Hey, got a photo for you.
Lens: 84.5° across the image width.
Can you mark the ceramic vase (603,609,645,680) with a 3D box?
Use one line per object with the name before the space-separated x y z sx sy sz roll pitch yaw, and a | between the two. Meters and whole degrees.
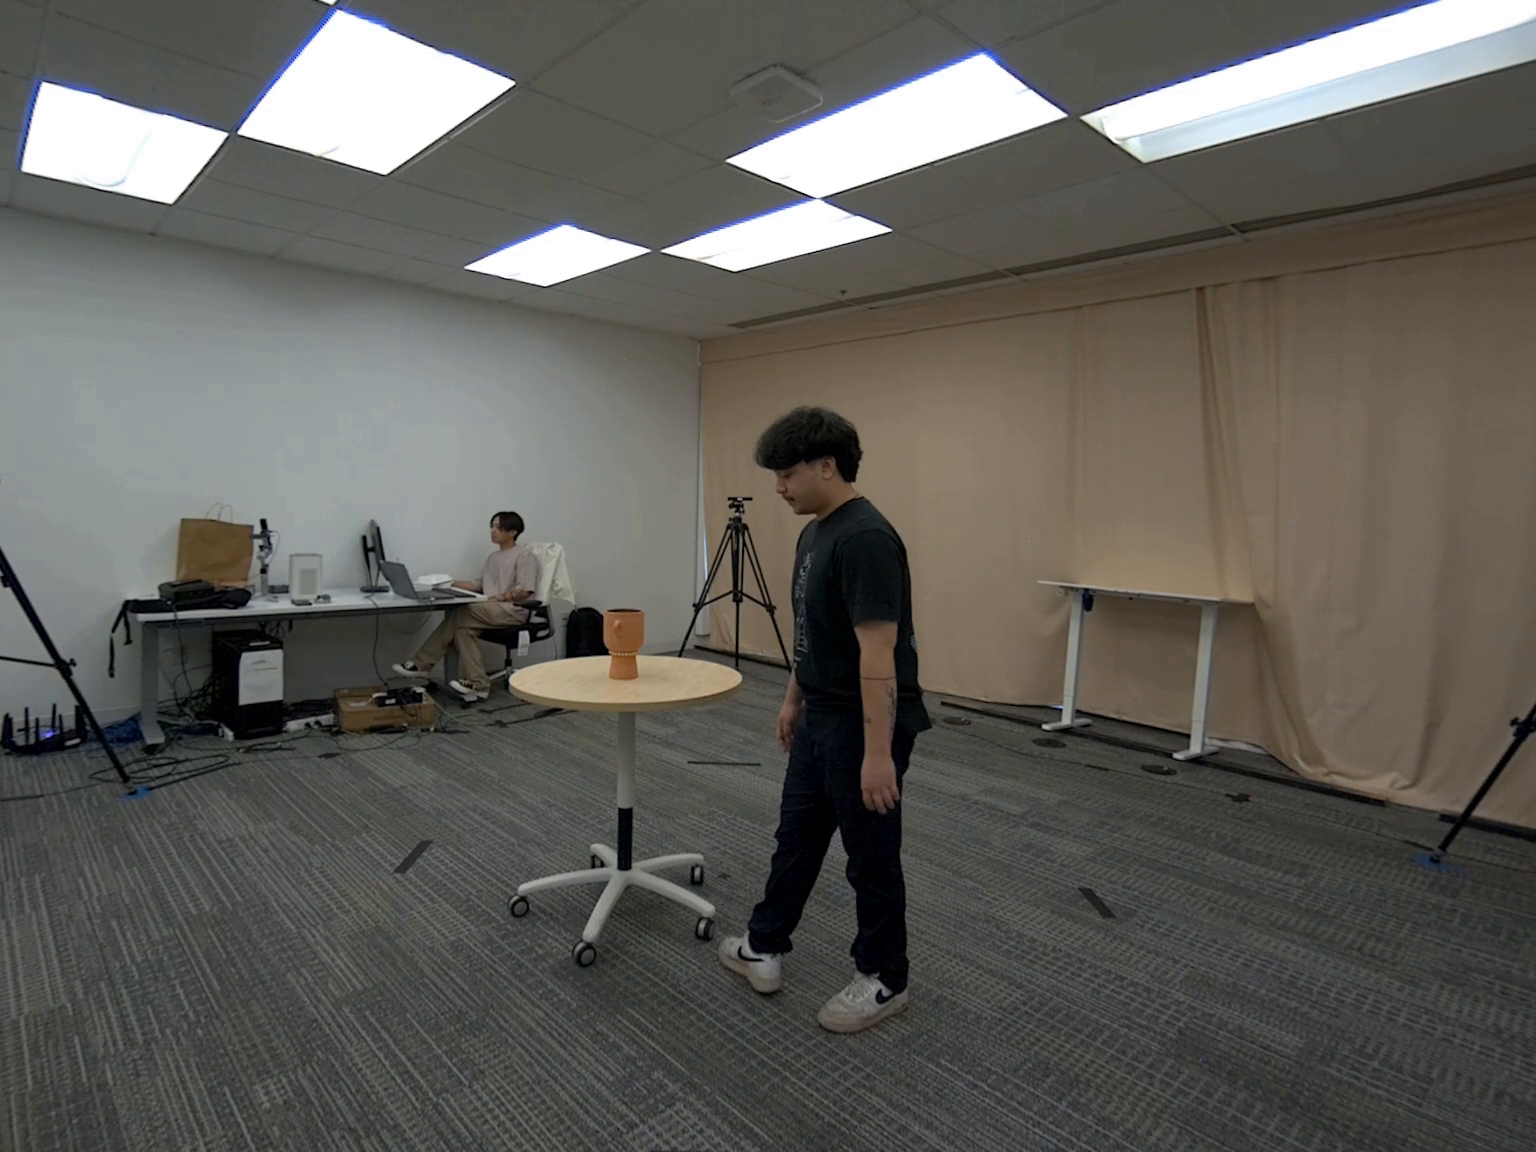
ceramic vase | -0.485 0.227 2.782 0.155 0.219 0.138 -1 5 -44
